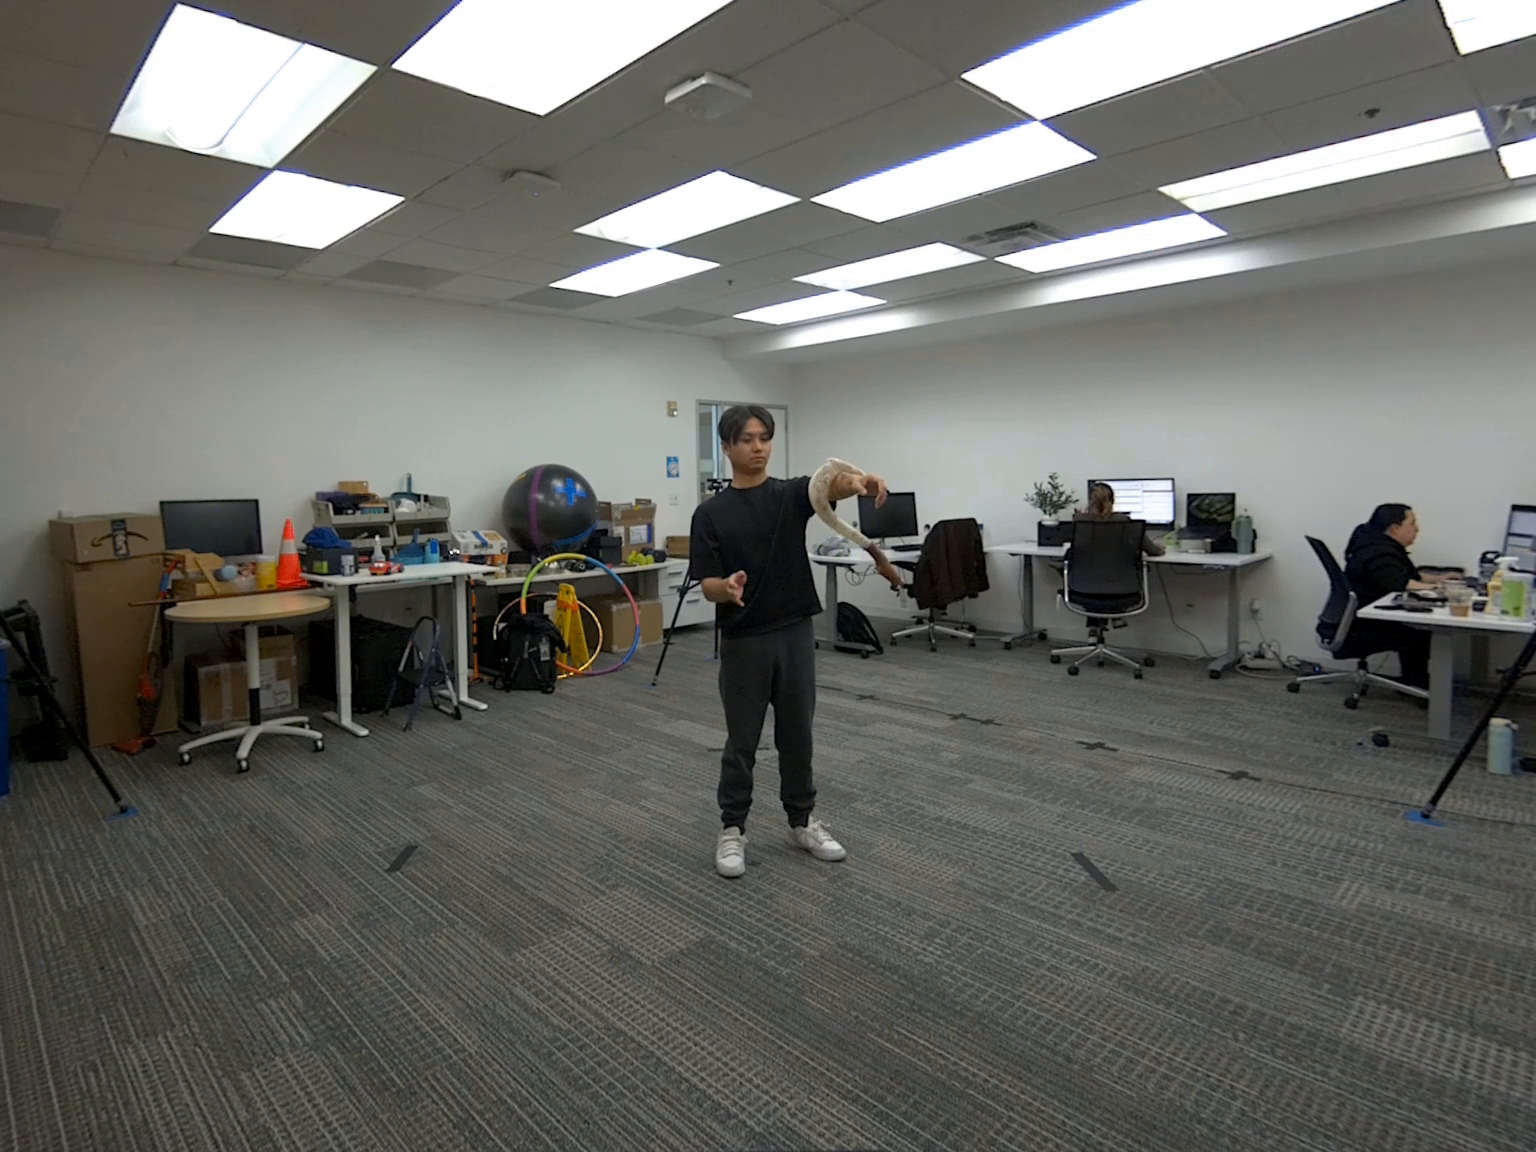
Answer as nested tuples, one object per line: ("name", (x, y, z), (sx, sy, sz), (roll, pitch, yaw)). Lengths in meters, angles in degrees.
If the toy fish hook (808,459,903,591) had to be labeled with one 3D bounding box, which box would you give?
("toy fish hook", (0.324, -0.171, 2.845), (0.224, 0.494, 0.049), (-44, 19, -12))
